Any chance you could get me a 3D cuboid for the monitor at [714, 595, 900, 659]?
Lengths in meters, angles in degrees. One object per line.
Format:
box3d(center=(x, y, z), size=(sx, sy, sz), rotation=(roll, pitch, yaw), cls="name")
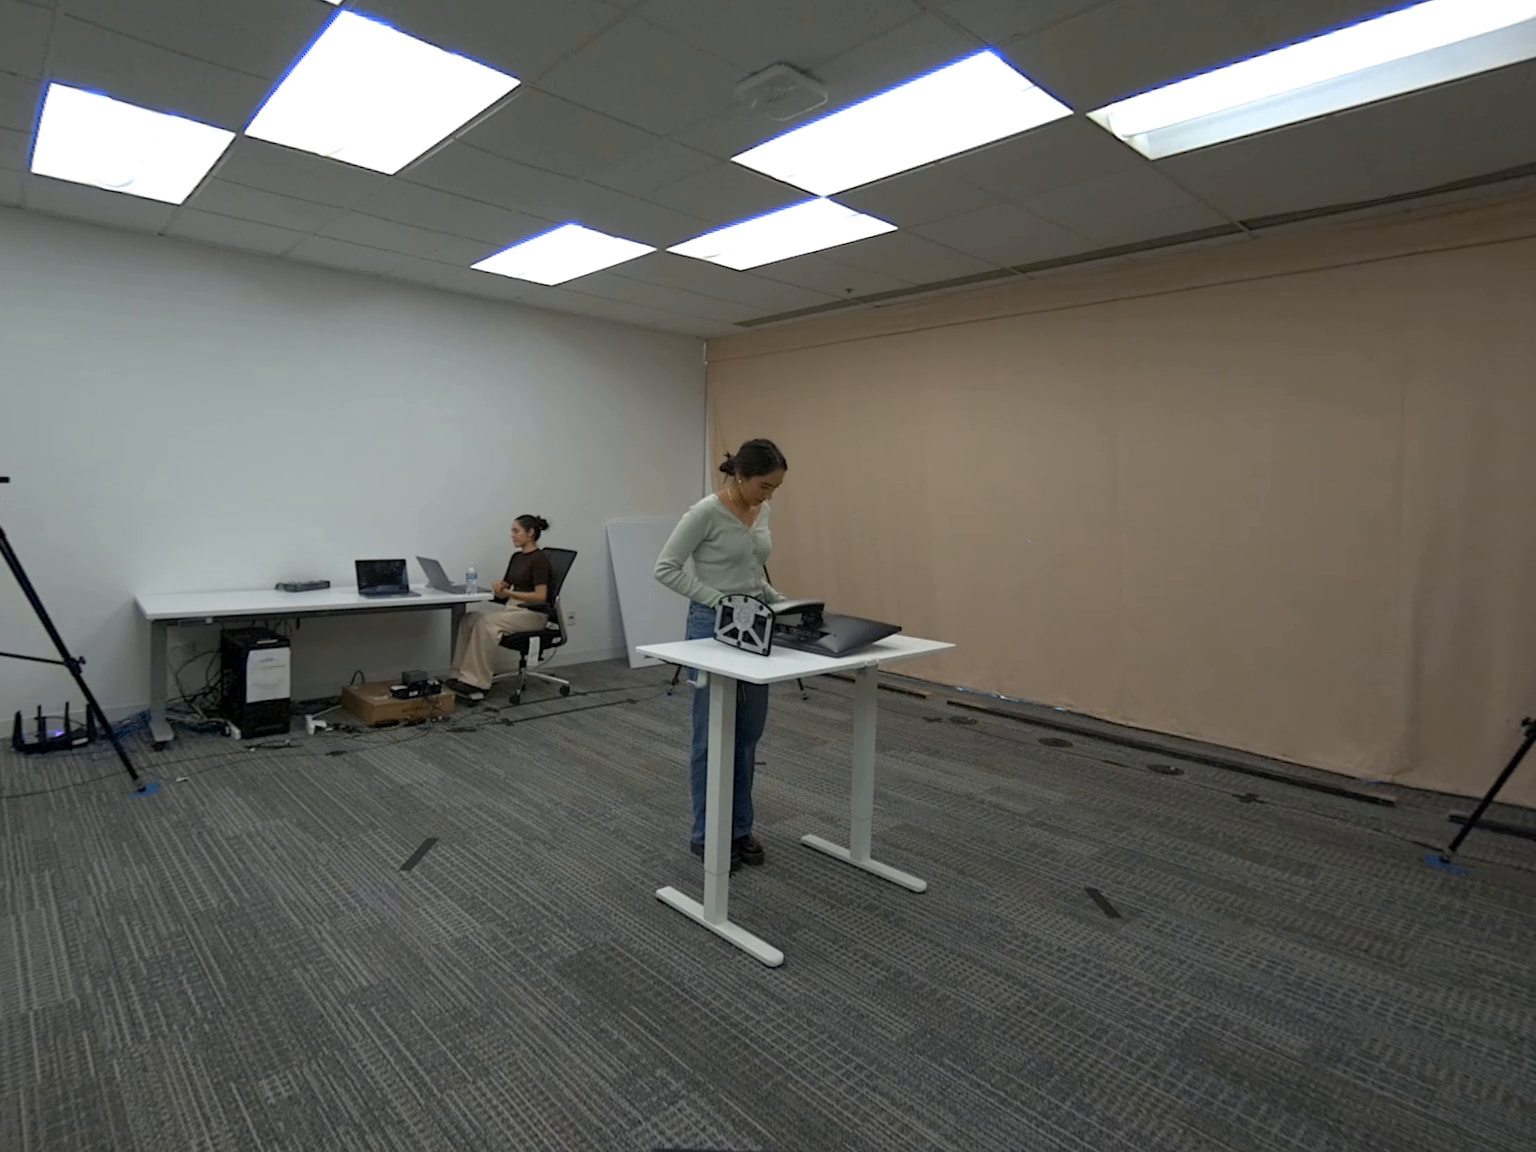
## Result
box3d(center=(0.085, 0.169, 2.942), size=(0.509, 0.186, 0.554), rotation=(3, 7, -43), cls="monitor")
